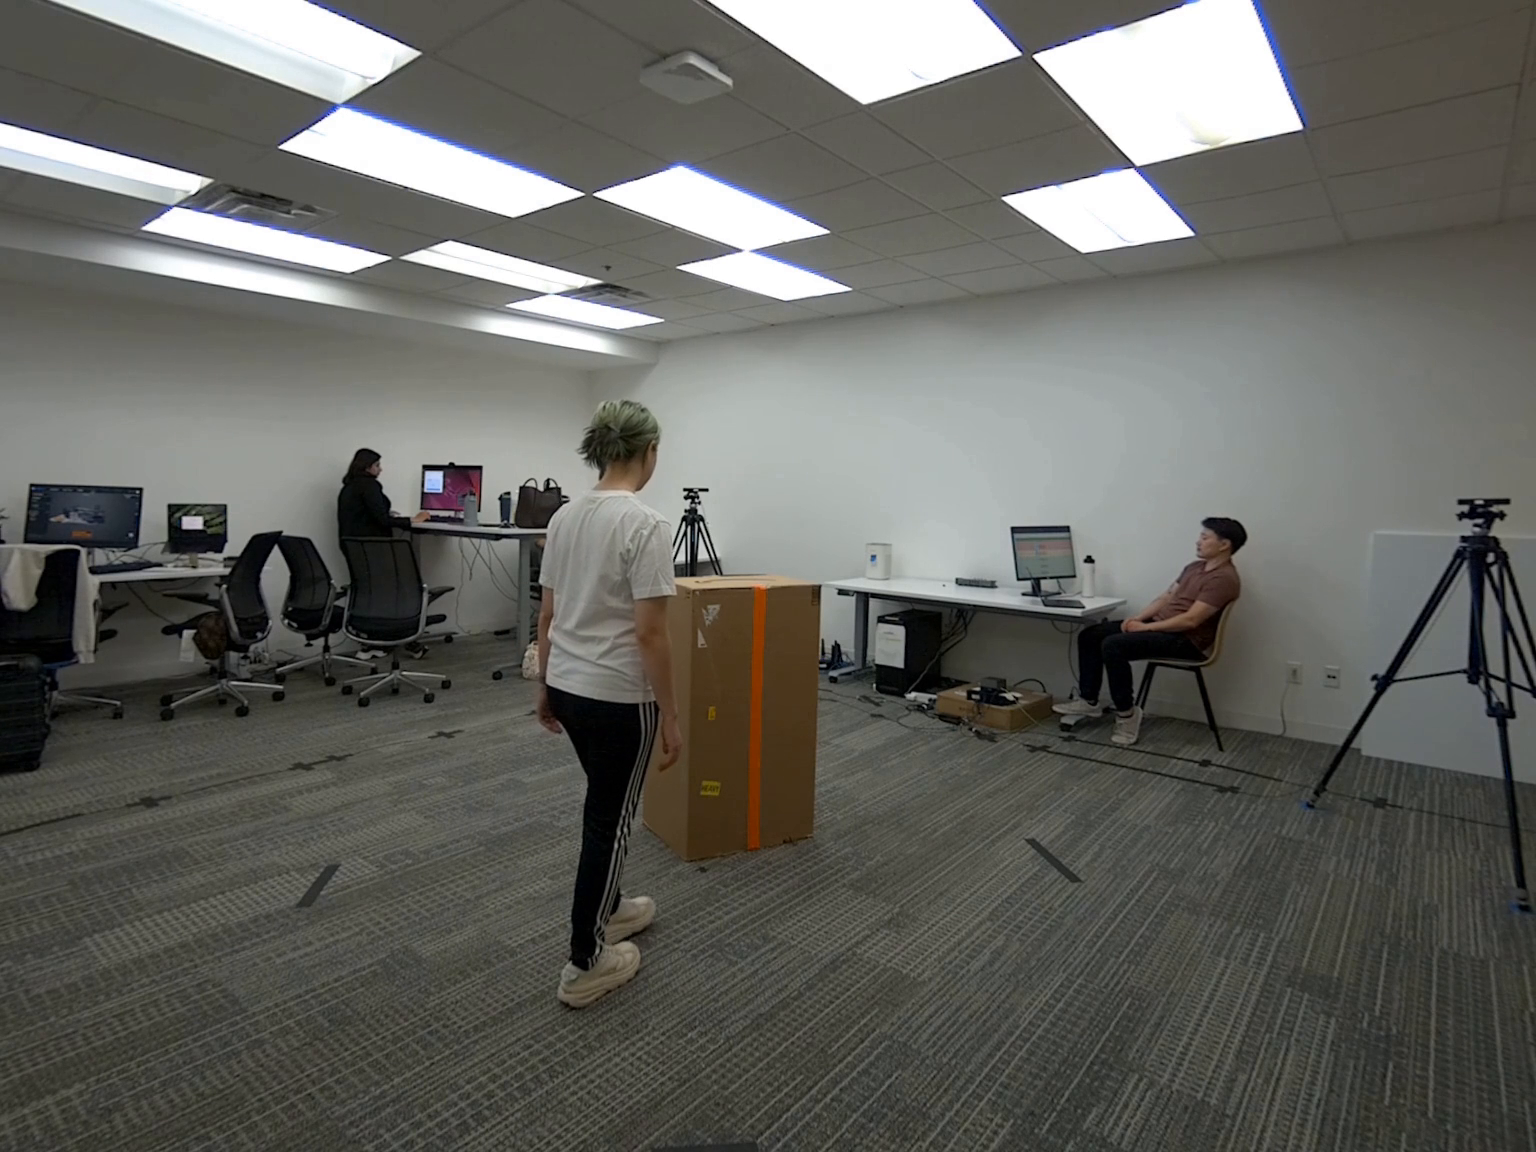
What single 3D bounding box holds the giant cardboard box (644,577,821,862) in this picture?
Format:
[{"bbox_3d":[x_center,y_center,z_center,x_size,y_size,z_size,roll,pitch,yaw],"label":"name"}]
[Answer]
[{"bbox_3d":[-0.161,0.529,3.458,0.568,1.025,0.460,0,2,-31],"label":"giant cardboard box"}]
